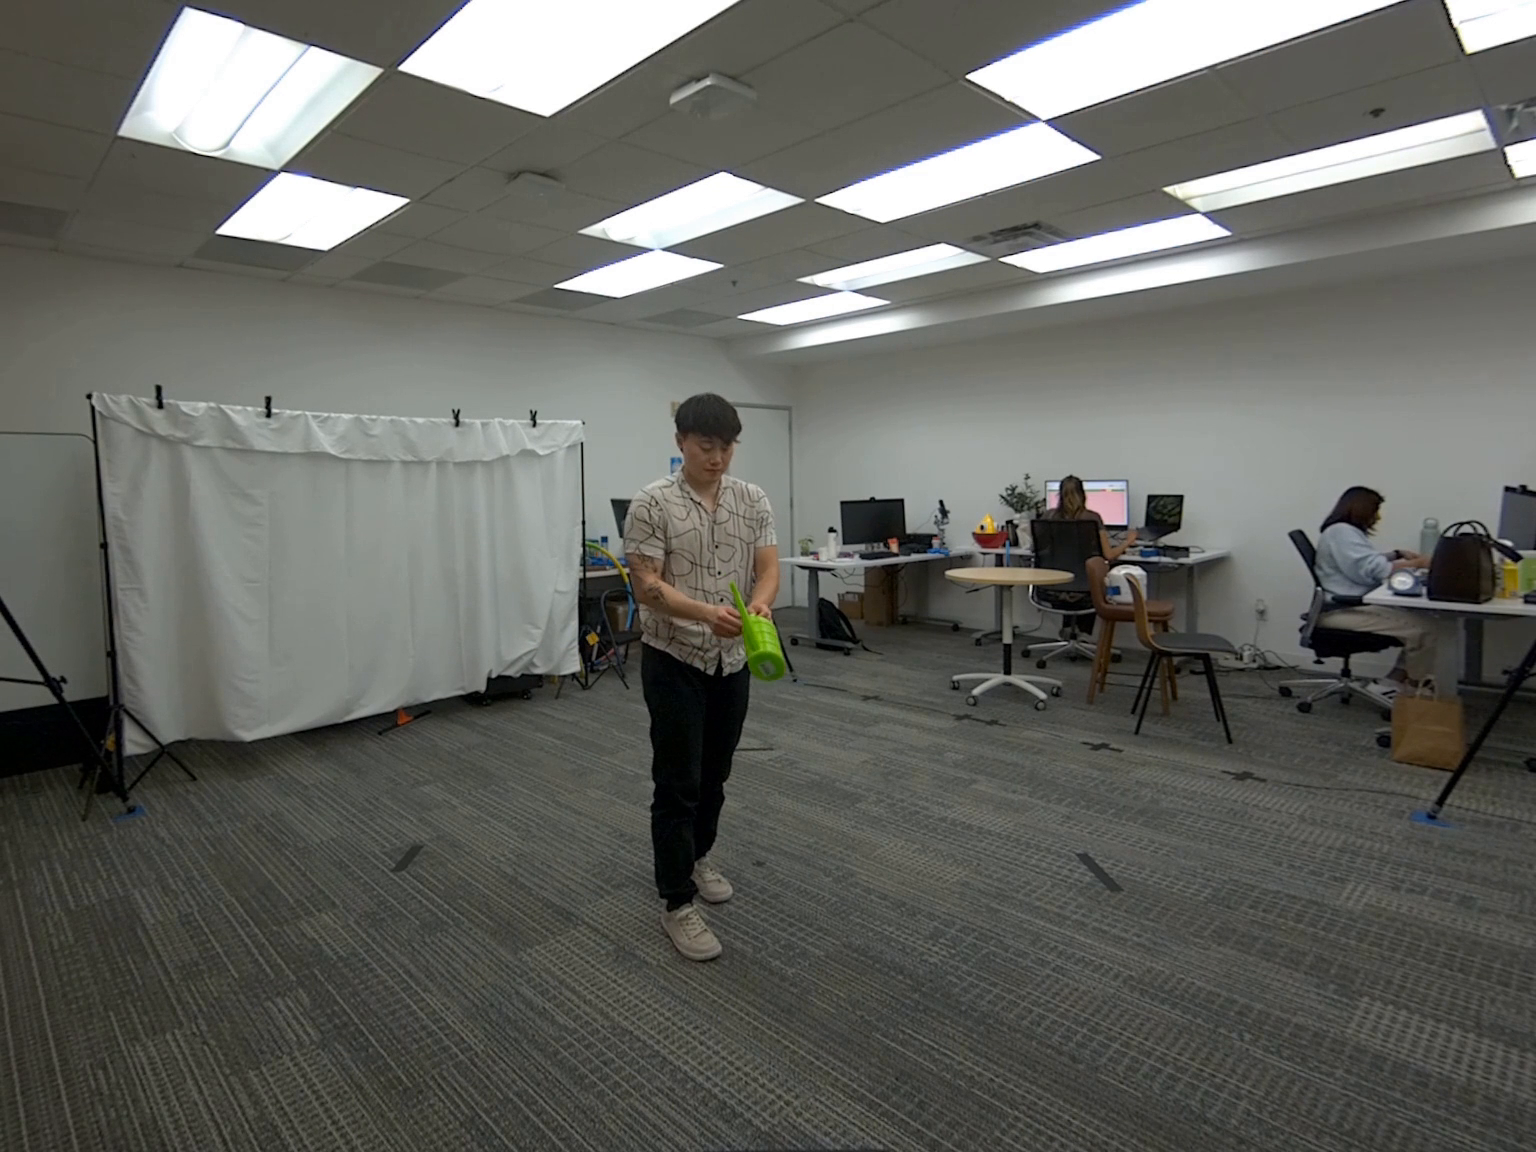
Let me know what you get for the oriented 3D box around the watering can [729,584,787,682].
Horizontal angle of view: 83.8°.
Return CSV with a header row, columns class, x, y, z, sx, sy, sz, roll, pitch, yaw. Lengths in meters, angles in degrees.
class,x,y,z,sx,sy,sz,roll,pitch,yaw
watering can,-0.041,0.168,2.323,0.098,0.183,0.268,-35,-51,17
